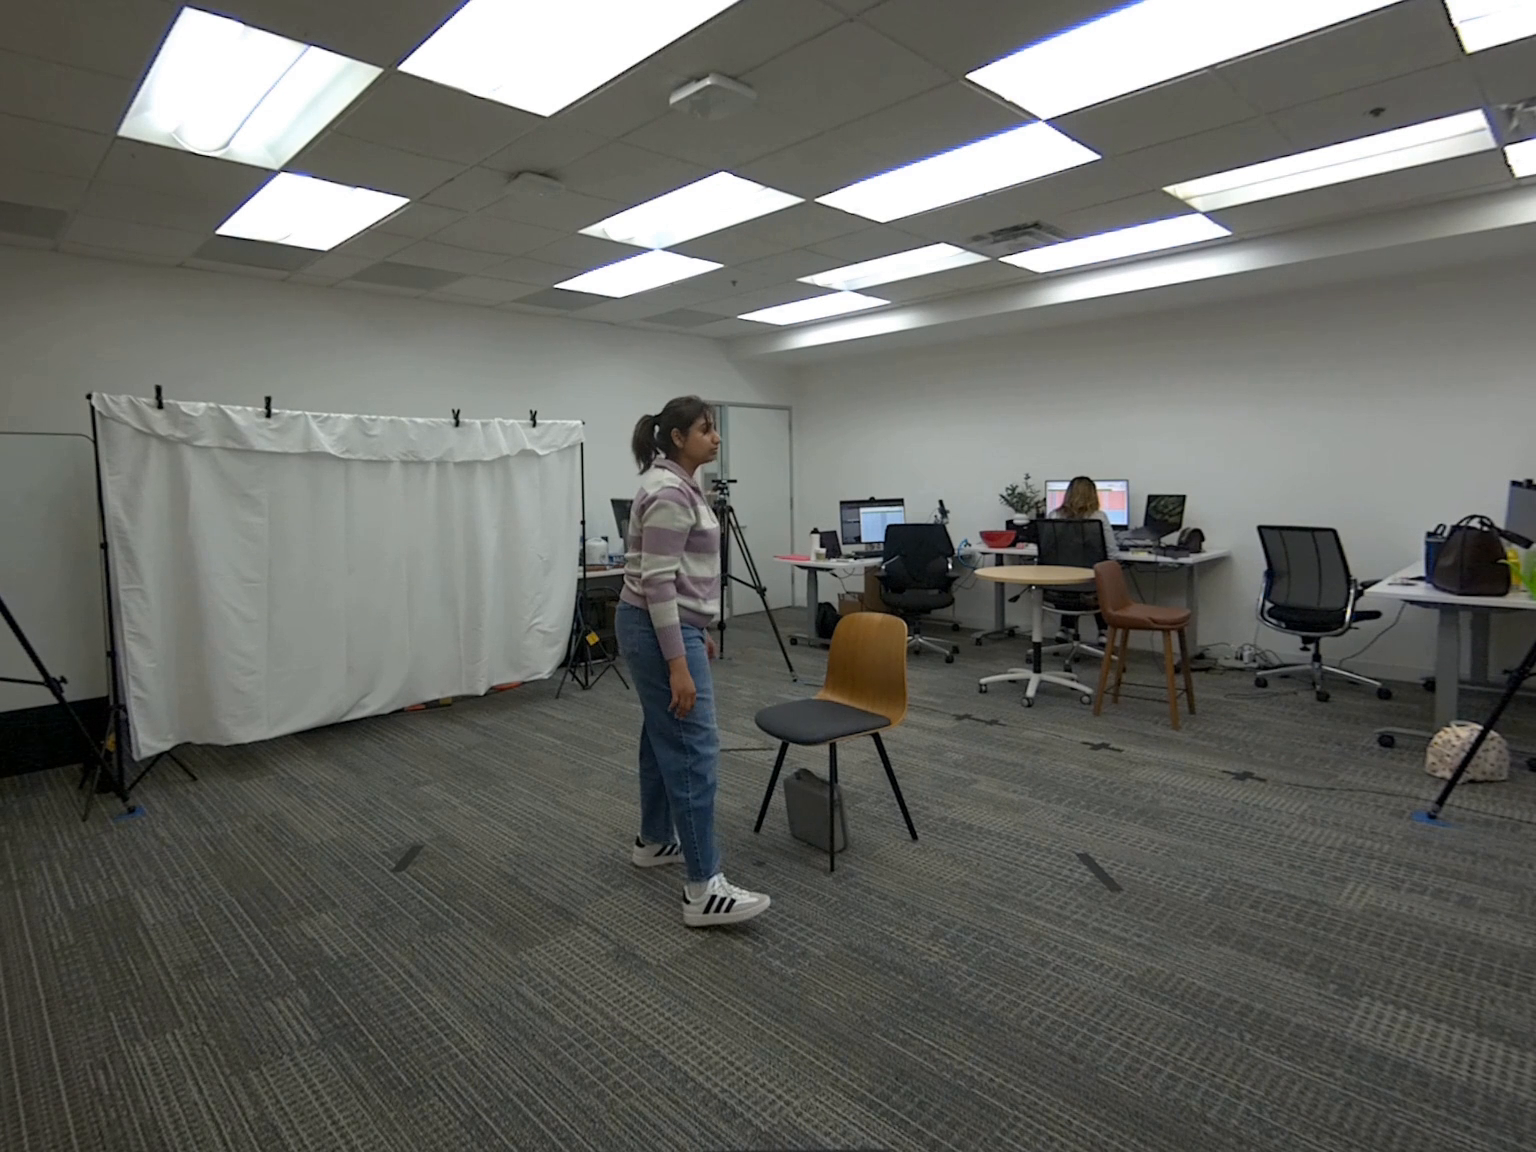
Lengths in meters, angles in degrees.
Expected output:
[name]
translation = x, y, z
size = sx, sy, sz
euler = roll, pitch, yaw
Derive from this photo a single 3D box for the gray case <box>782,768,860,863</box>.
[gray case]
translation = 0.197, 0.902, 3.261
size = 0.102, 0.258, 0.264
euler = -17, 13, -37
